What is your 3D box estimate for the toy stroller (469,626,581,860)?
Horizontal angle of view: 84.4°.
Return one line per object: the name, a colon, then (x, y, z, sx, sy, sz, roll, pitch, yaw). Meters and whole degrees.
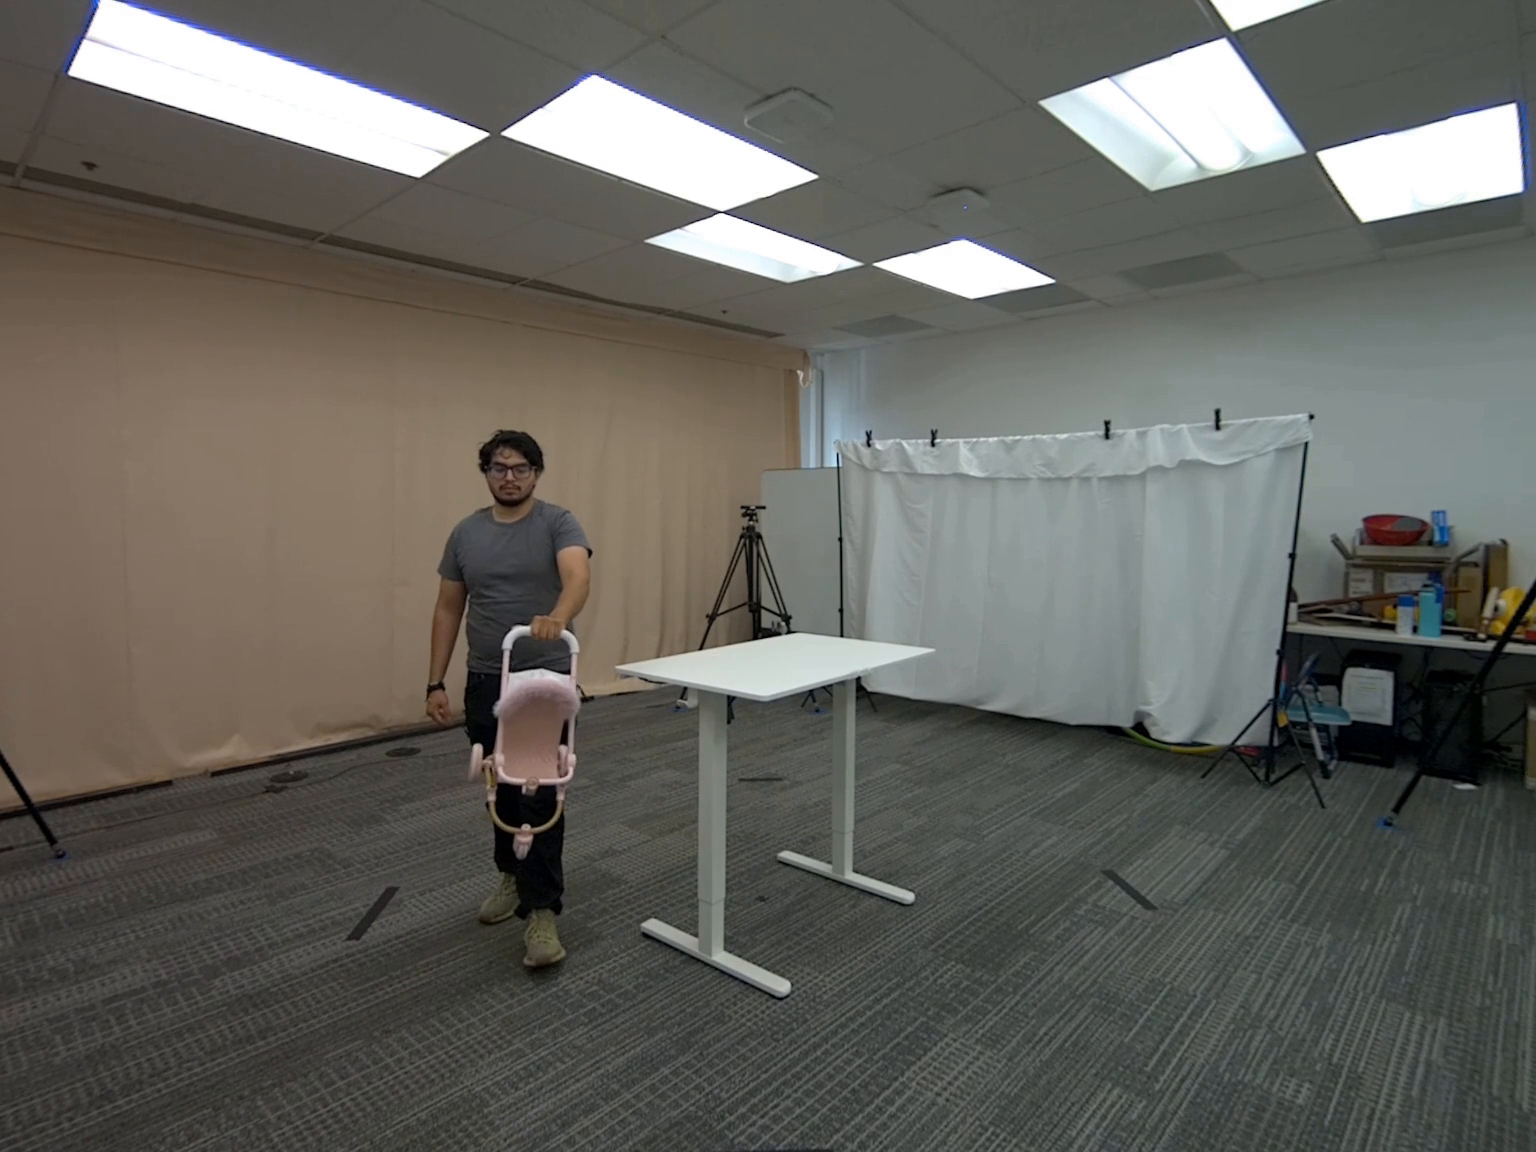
toy stroller: (-0.639, 0.457, 2.271, 0.275, 0.532, 0.351, 9, 22, -21)
